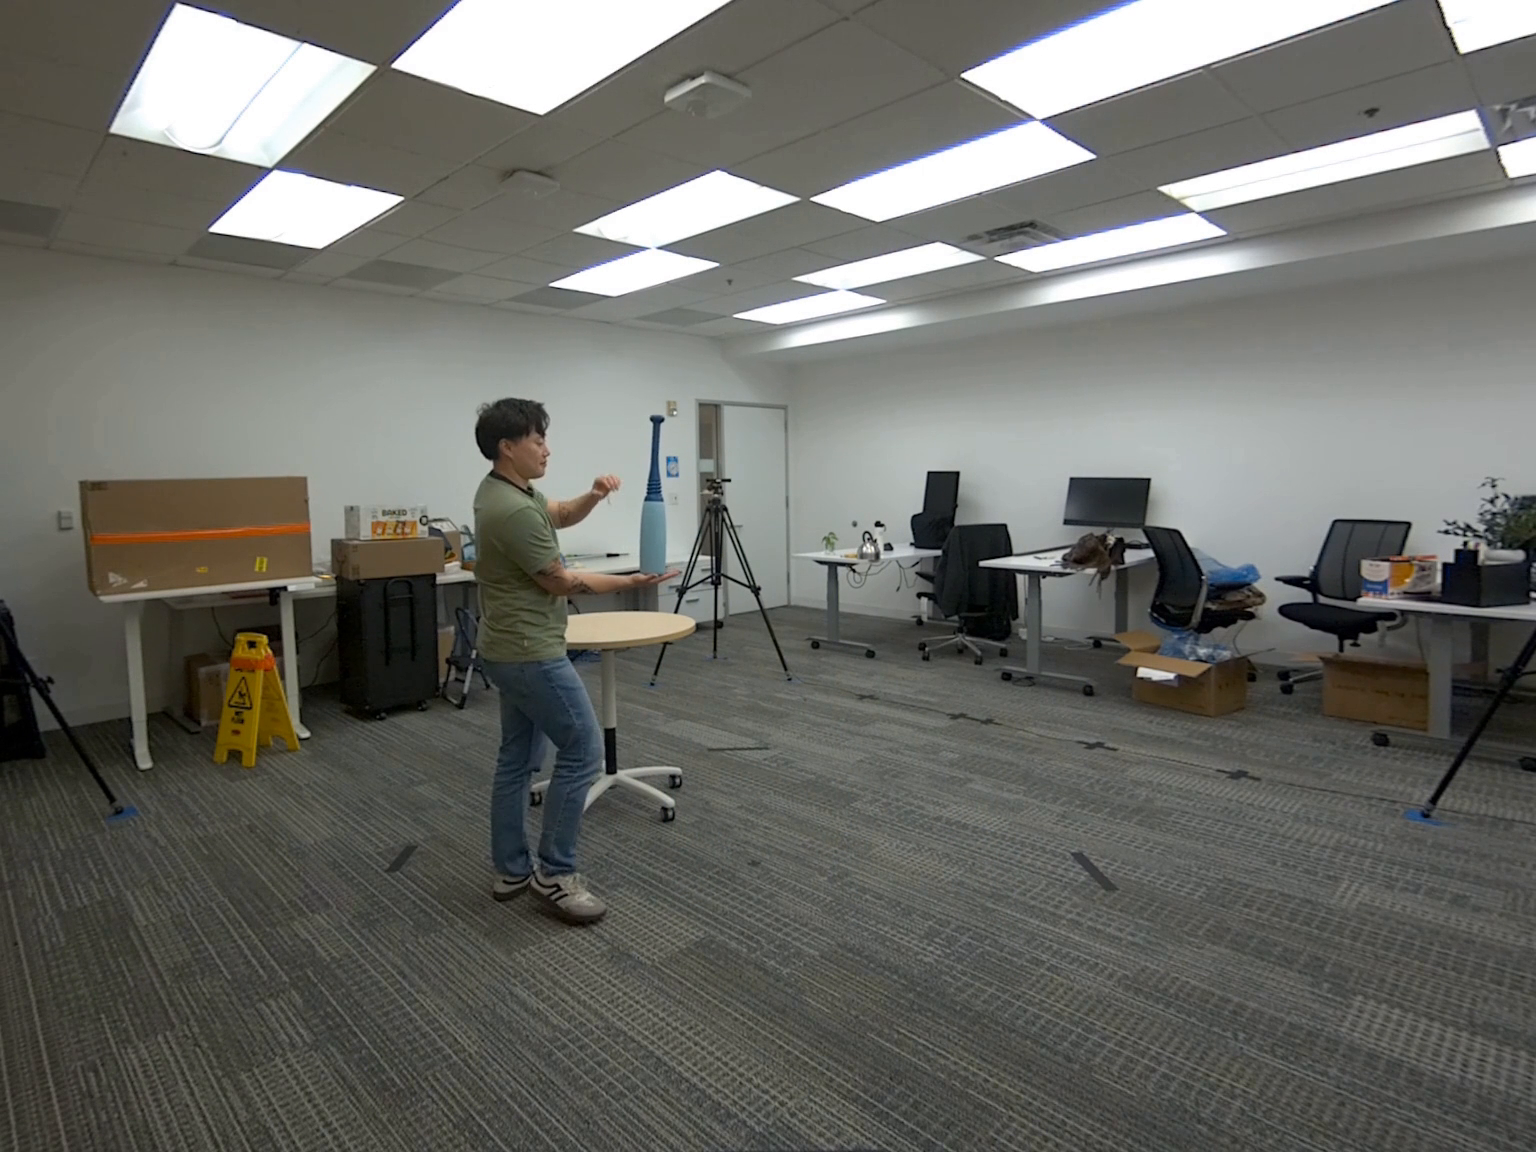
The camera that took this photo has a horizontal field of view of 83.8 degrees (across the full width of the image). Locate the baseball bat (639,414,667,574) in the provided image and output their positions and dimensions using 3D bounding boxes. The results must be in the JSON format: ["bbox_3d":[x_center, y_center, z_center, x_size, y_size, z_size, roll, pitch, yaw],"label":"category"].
[{"bbox_3d":[-0.386,-0.268,2.877,0.089,0.543,0.089,1,0,-2],"label":"baseball bat"}]
